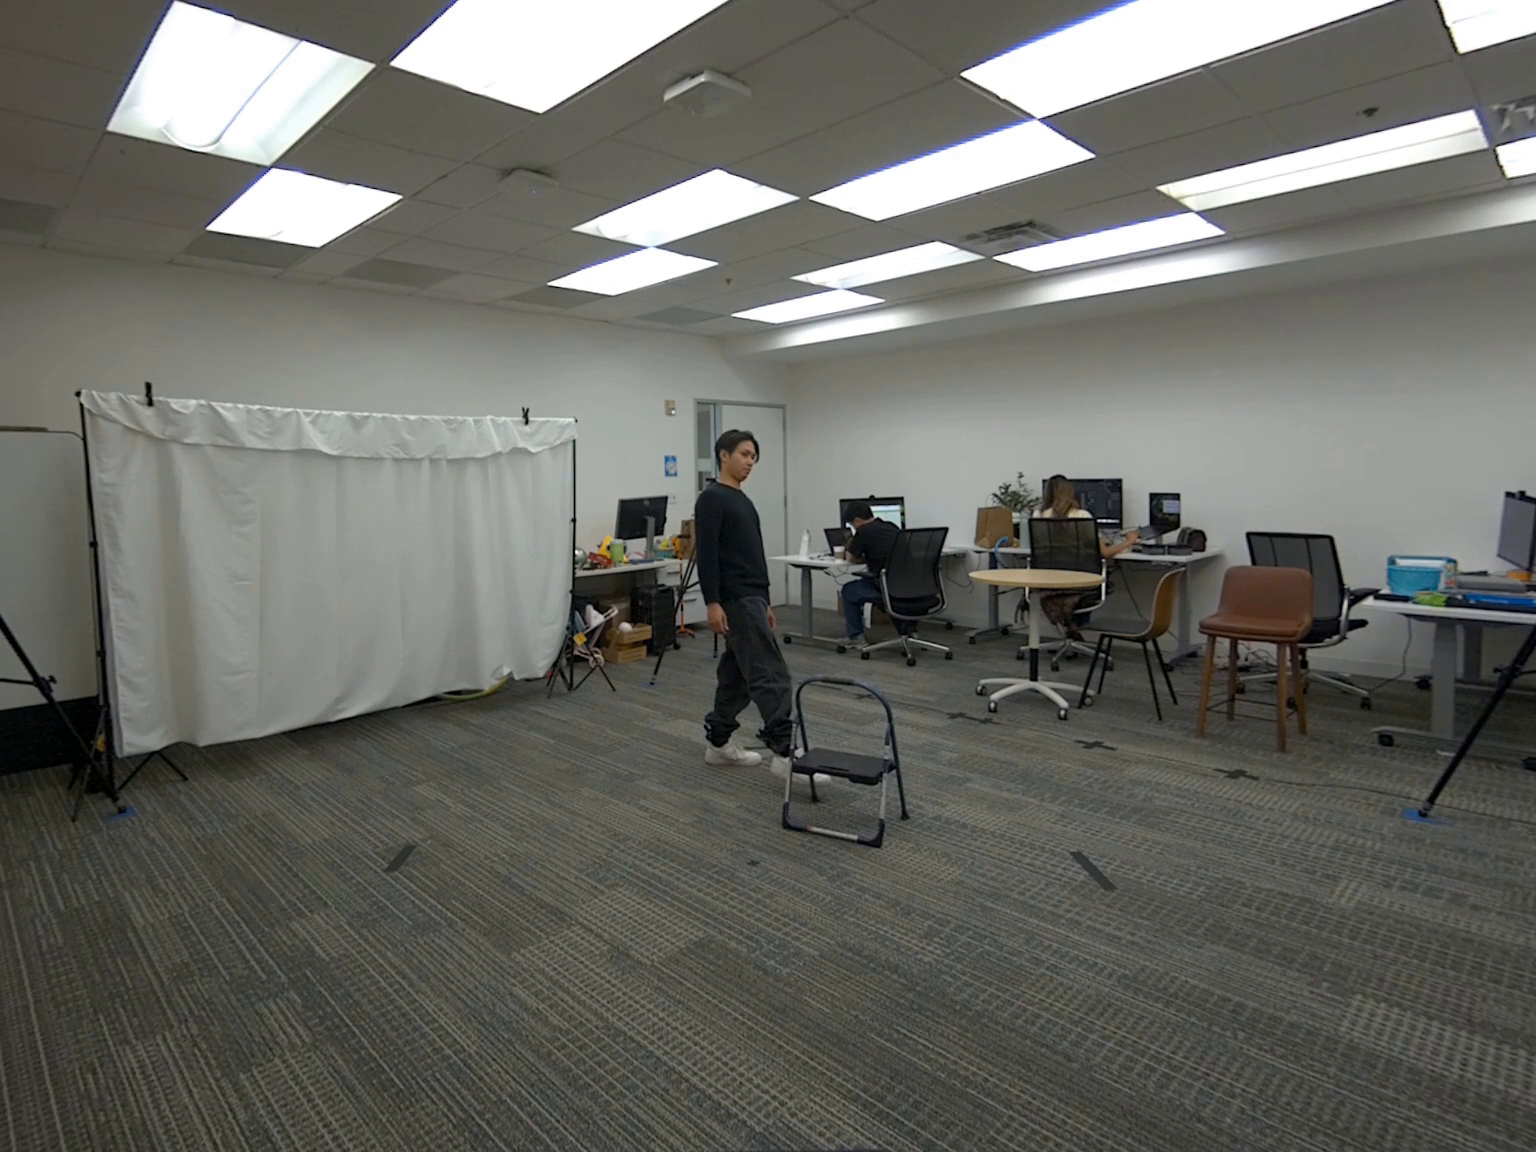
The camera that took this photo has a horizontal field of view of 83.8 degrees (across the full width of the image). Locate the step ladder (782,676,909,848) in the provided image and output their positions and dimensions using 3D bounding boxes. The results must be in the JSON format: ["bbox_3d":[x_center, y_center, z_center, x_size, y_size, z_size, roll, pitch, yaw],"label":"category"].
[{"bbox_3d":[0.309,0.695,3.441,0.441,0.604,0.342,1,4,28],"label":"step ladder"}]
